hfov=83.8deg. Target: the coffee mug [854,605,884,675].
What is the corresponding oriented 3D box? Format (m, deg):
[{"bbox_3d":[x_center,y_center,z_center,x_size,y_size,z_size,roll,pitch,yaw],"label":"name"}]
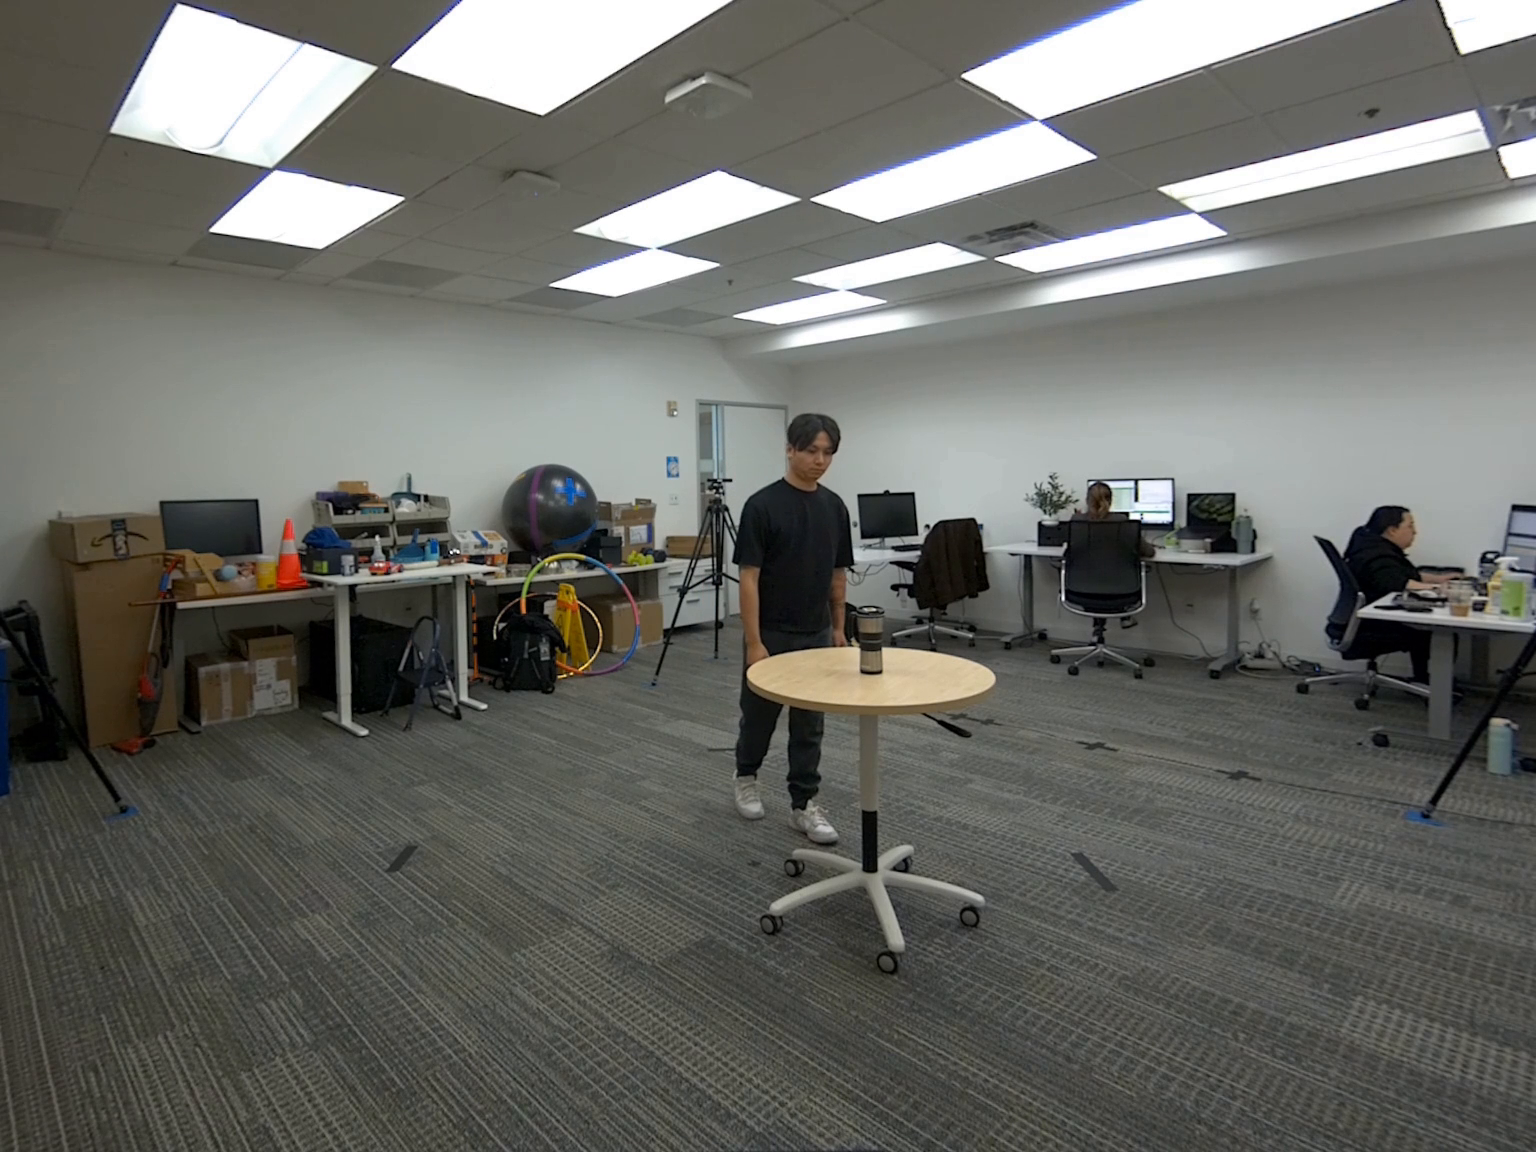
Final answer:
[{"bbox_3d":[0.313,0.201,2.699,0.086,0.201,0.125,-10,11,-30],"label":"coffee mug"}]
